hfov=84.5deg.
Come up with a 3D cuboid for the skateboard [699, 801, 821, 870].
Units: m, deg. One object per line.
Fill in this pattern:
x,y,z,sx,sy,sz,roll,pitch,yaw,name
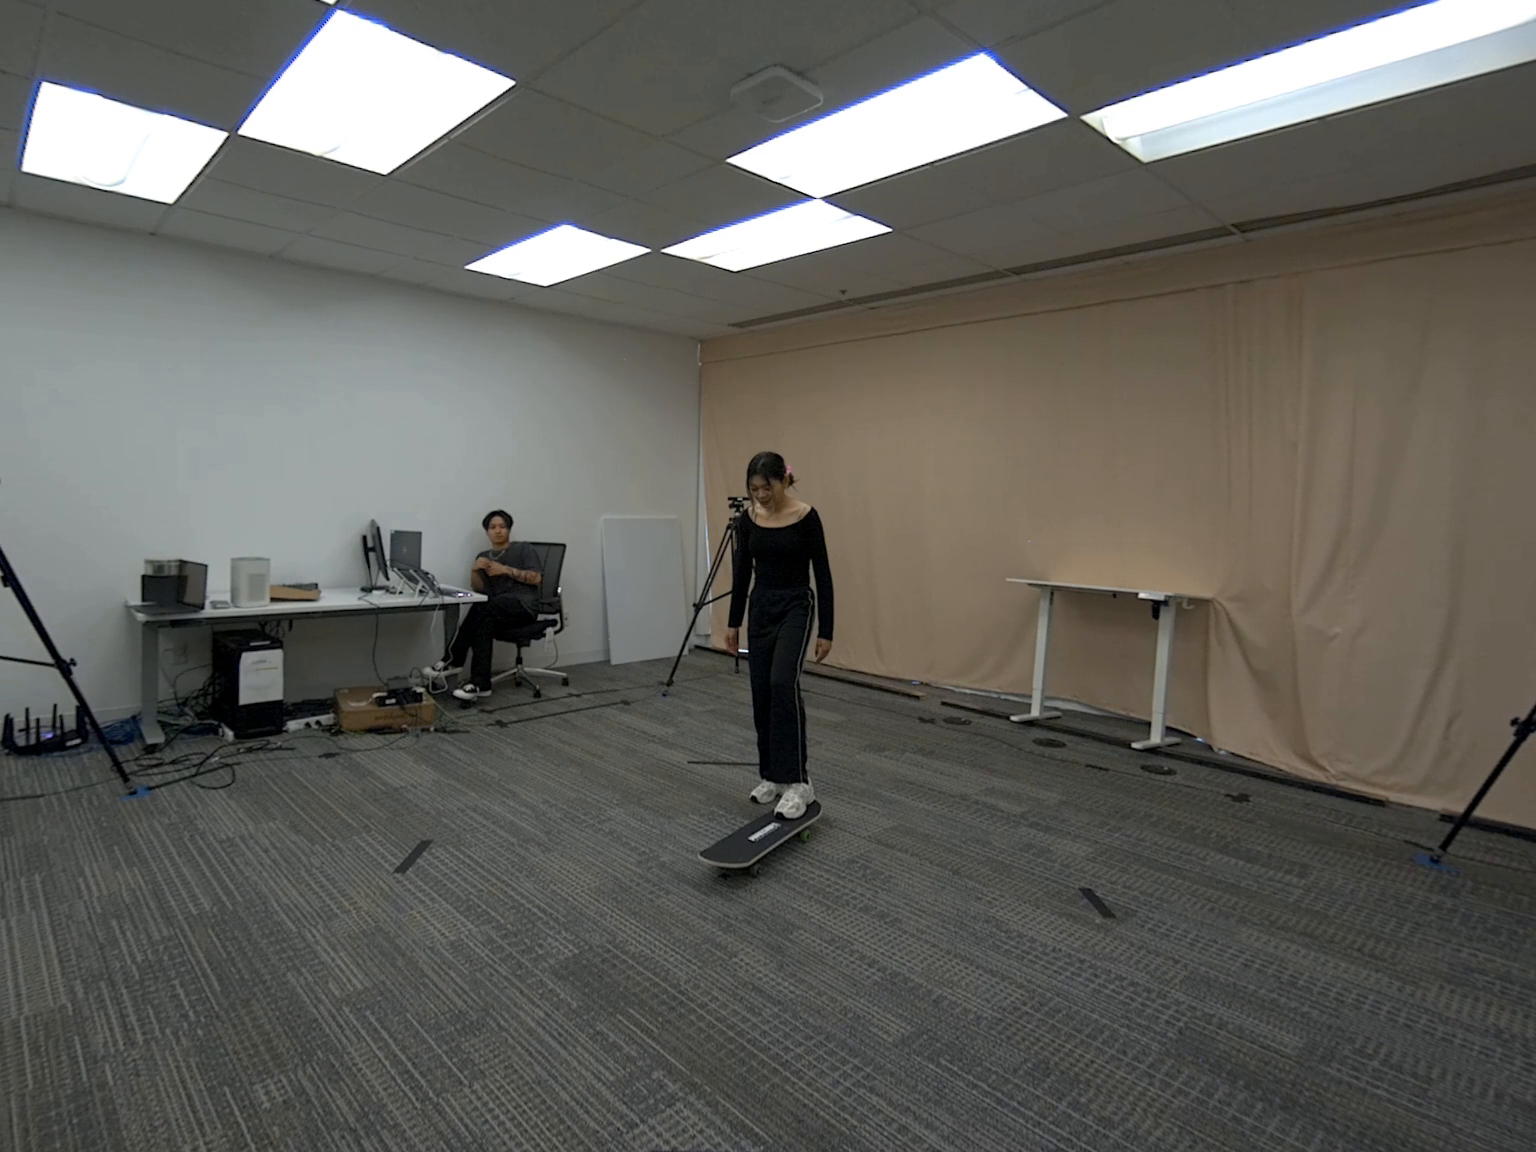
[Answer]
-0.020,1.035,3.306,0.198,0.110,0.770,4,5,29,skateboard
